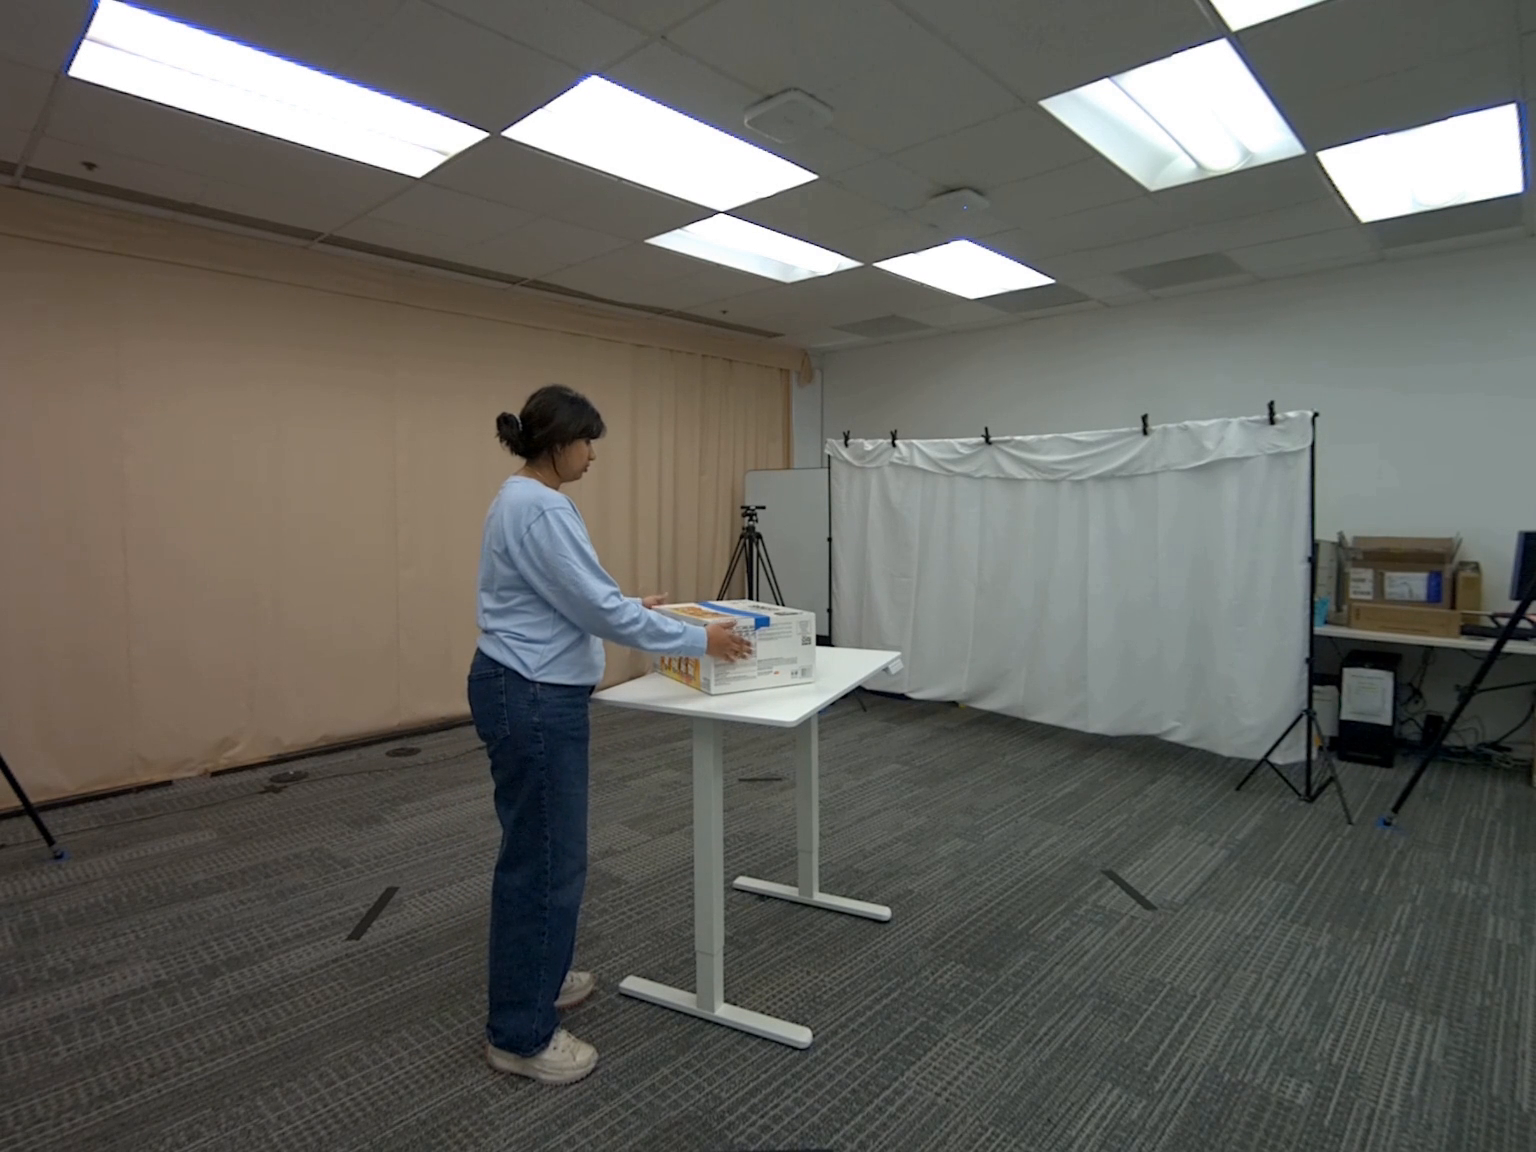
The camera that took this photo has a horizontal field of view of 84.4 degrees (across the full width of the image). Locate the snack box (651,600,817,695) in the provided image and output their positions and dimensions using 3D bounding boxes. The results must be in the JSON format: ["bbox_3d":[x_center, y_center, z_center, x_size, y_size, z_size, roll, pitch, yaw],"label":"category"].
[{"bbox_3d":[-0.108,0.202,2.513,0.332,0.205,0.417,-3,5,-29],"label":"snack box"}]
